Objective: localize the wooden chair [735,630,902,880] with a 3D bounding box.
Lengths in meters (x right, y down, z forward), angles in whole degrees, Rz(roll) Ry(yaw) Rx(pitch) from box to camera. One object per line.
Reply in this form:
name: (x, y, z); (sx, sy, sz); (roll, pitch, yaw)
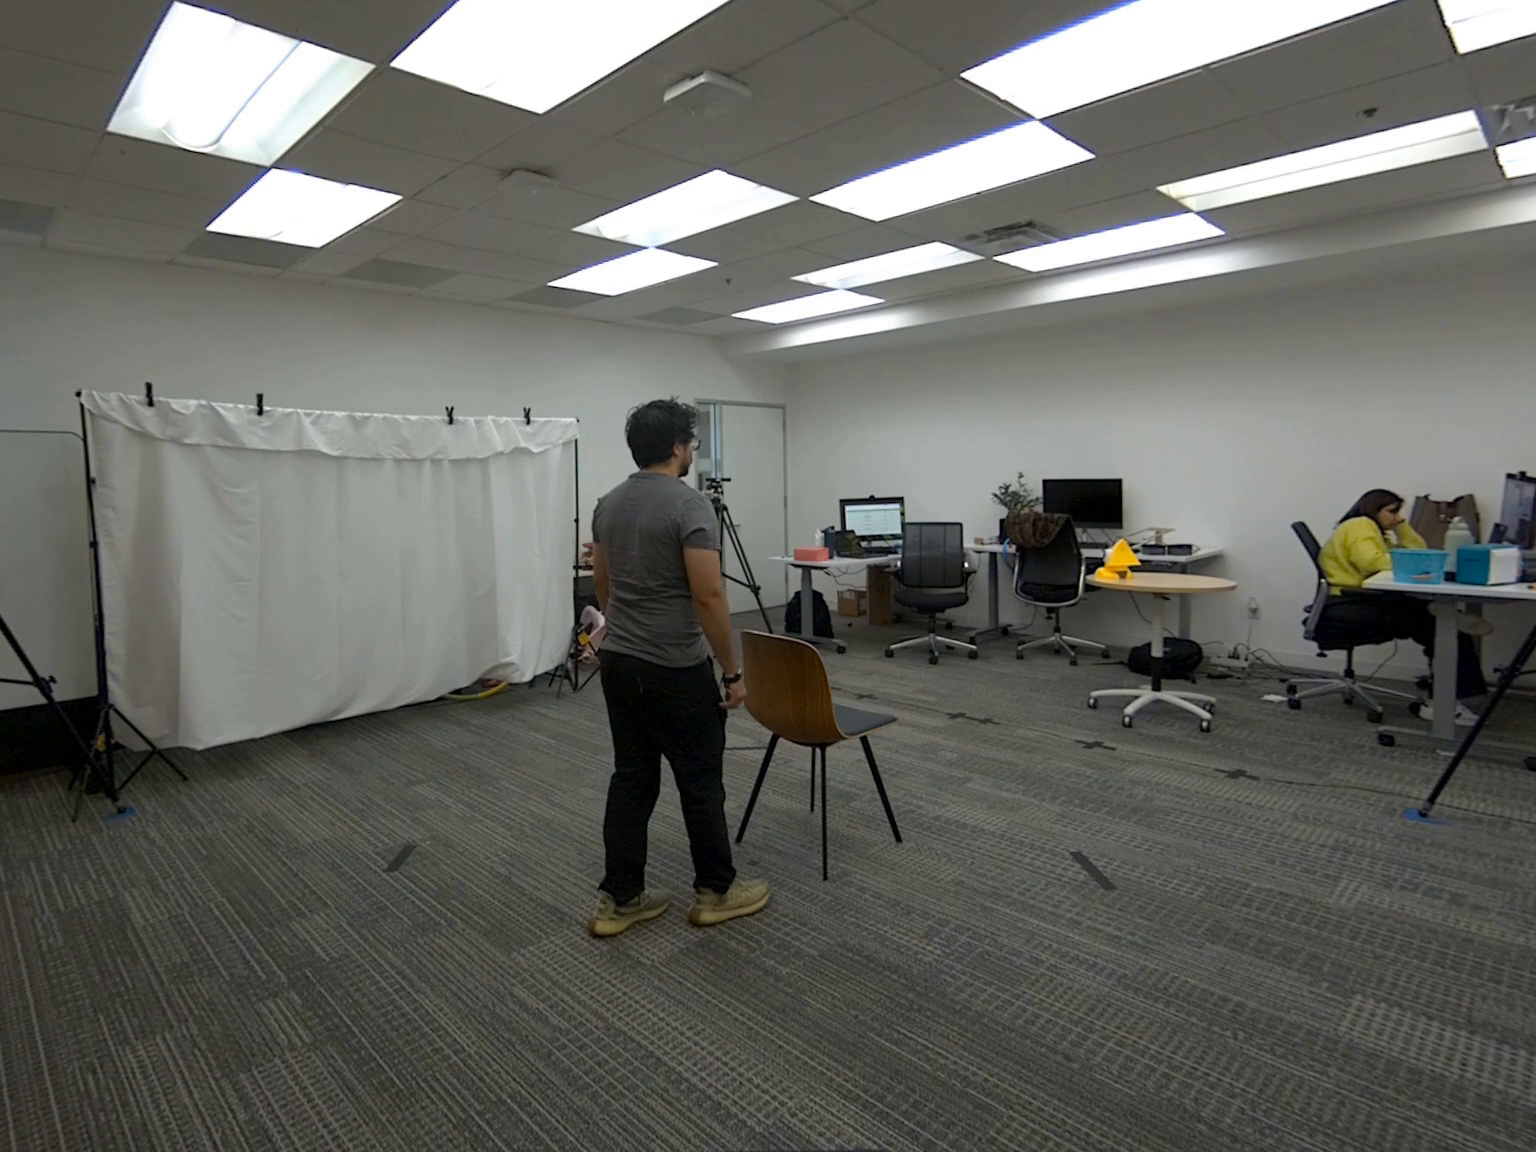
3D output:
wooden chair: (0.196, 0.596, 3.245); (0.511, 0.872, 0.493); (-10, 10, -44)
